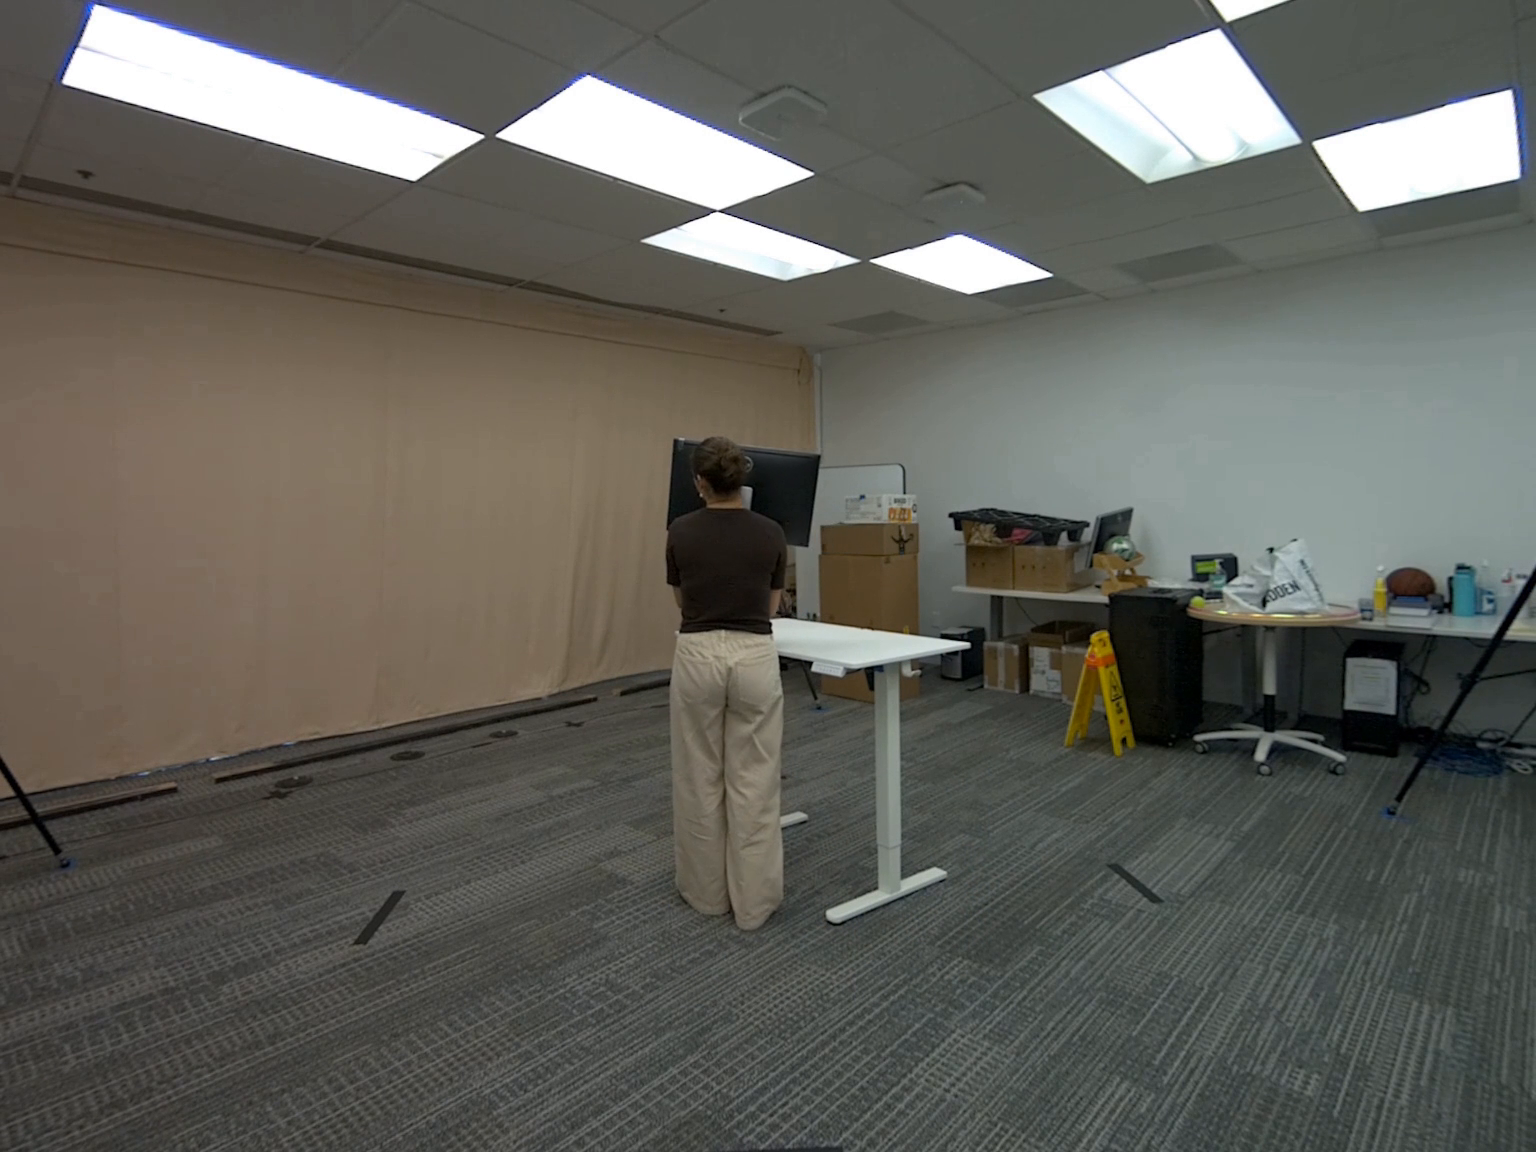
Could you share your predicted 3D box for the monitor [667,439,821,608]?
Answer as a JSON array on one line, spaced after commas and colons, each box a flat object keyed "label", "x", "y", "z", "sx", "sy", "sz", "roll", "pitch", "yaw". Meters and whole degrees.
[{"label": "monitor", "x": -0.107, "y": -0.216, "z": 3.058, "sx": 0.540, "sy": 0.521, "sz": 0.187, "roll": 6, "pitch": 5, "yaw": 1}]
